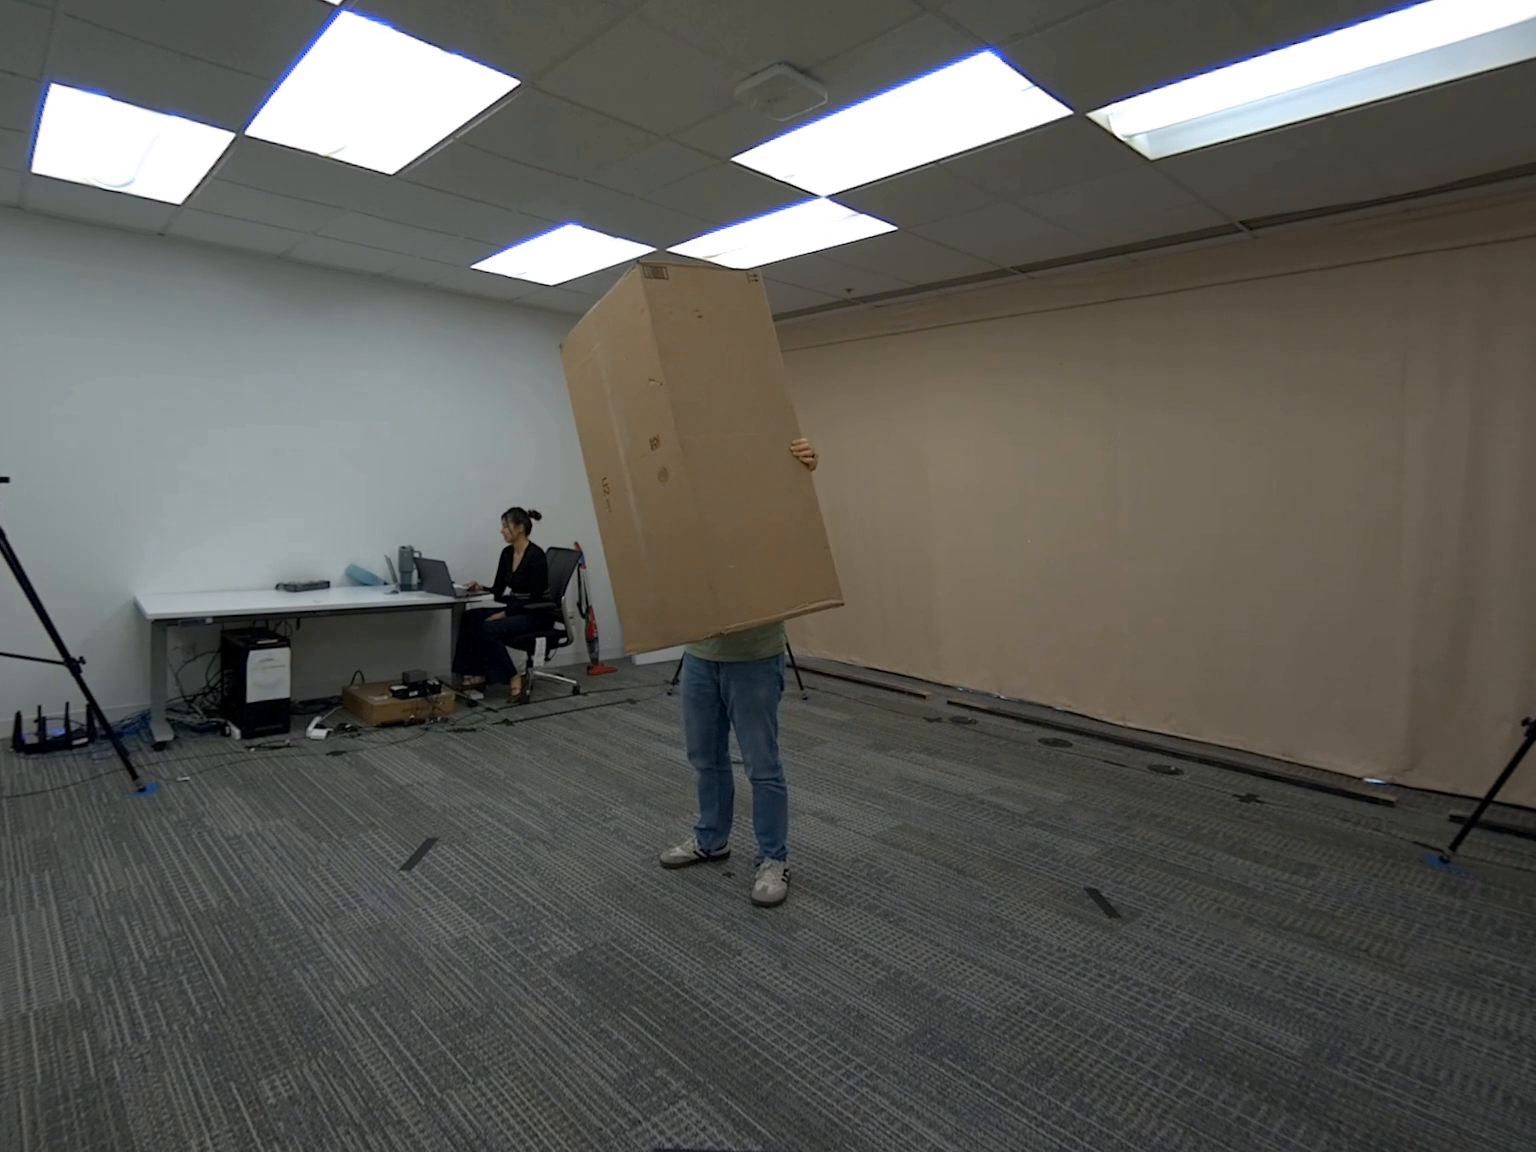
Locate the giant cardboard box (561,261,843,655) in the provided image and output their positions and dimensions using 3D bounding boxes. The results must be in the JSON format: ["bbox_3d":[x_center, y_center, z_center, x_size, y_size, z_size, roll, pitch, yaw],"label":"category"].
[{"bbox_3d":[-0.231,-0.326,2.542,0.418,1.032,0.585,-9,-7,-36],"label":"giant cardboard box"}]
